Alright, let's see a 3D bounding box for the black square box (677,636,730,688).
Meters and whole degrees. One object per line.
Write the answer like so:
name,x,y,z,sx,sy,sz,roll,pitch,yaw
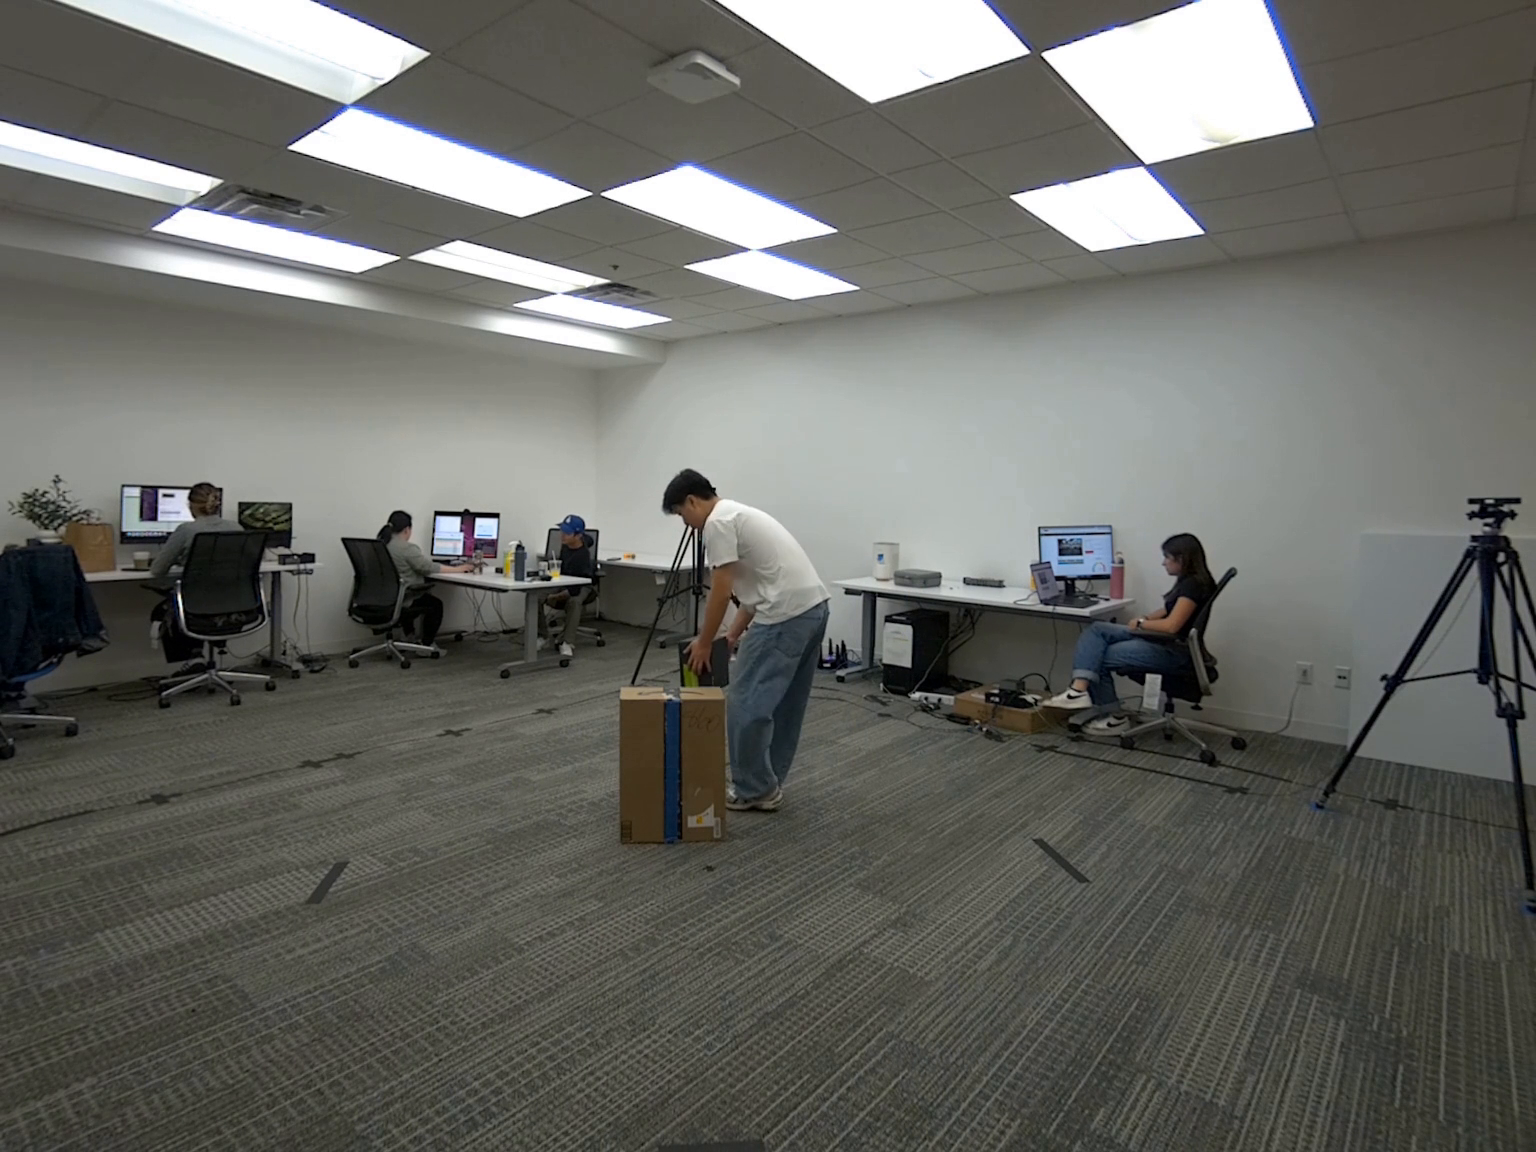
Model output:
black square box,-0.297,0.397,3.856,0.158,0.228,0.214,-5,1,16
